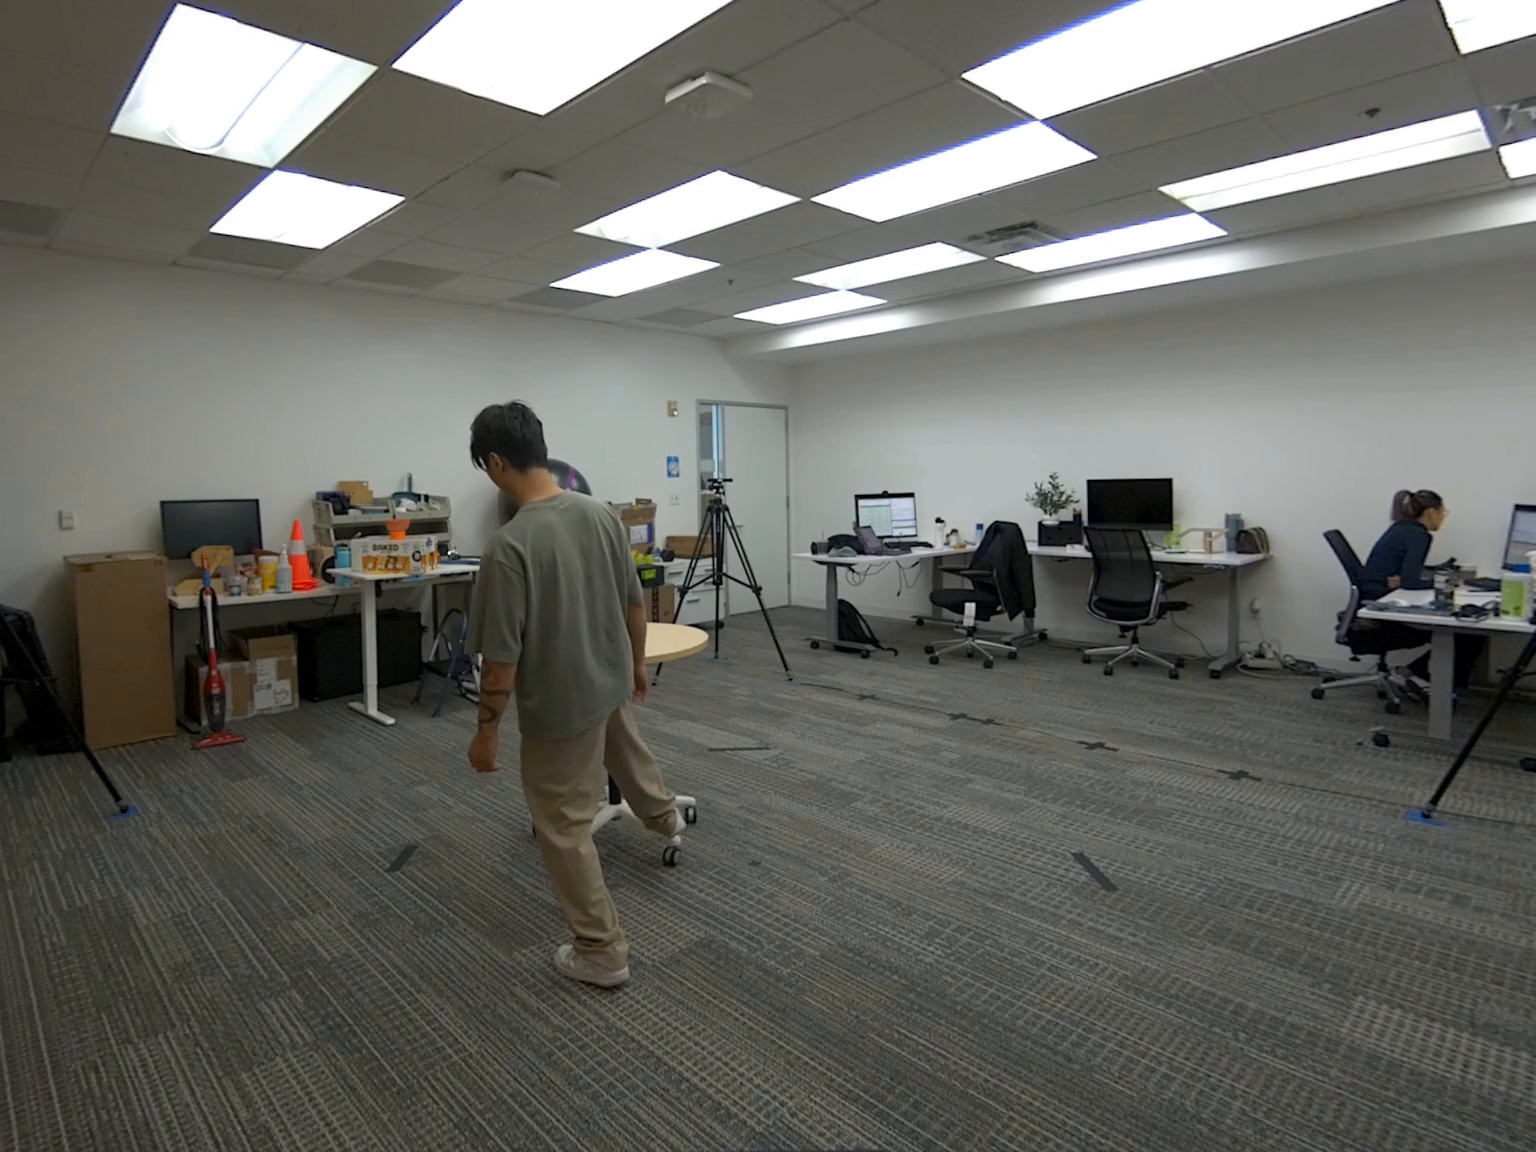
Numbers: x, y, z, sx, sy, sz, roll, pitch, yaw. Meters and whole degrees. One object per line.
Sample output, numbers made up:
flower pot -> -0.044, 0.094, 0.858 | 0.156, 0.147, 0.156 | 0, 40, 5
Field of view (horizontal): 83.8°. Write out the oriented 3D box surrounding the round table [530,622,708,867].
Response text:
round table -> -0.607, 0.638, 3.323 | 0.784, 0.783, 0.789 | -2, 5, -2
